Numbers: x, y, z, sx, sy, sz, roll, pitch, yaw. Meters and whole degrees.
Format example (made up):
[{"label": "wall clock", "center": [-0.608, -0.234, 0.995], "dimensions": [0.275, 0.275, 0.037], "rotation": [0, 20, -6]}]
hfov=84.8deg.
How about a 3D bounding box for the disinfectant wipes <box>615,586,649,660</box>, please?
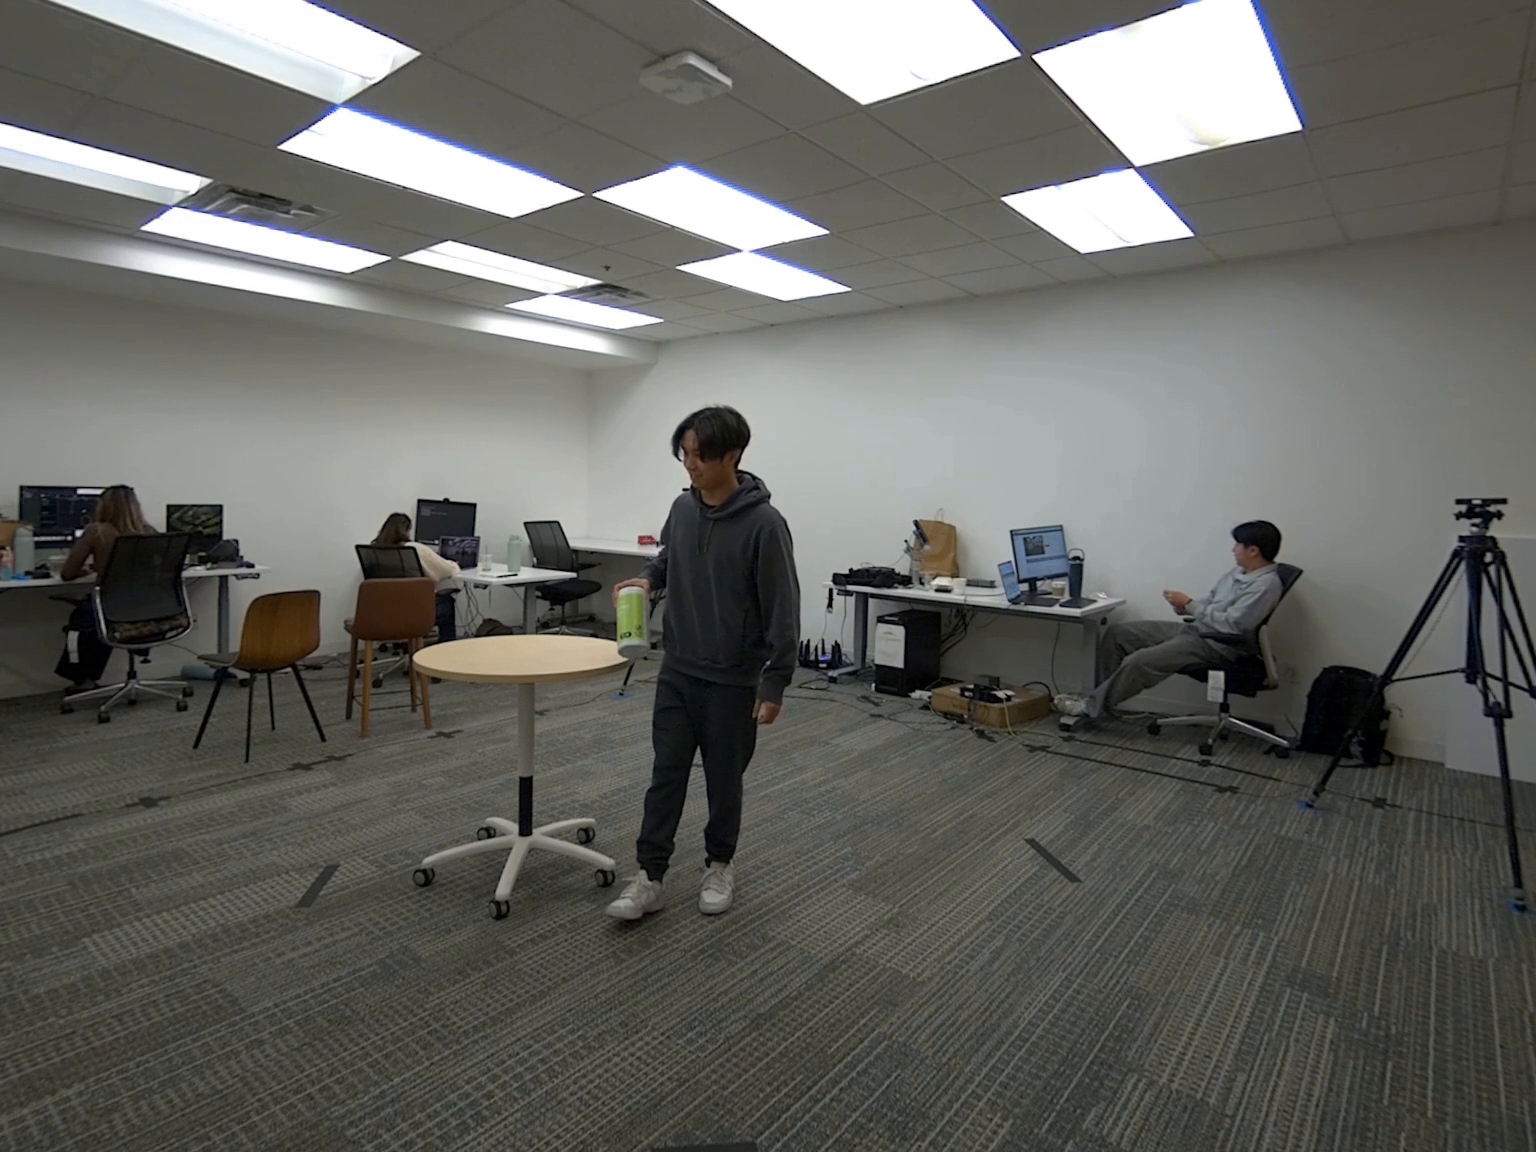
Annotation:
[{"label": "disinfectant wipes", "center": [-0.451, 0.153, 2.801], "dimensions": [0.117, 0.223, 0.115], "rotation": [-3, -30, -3]}]
